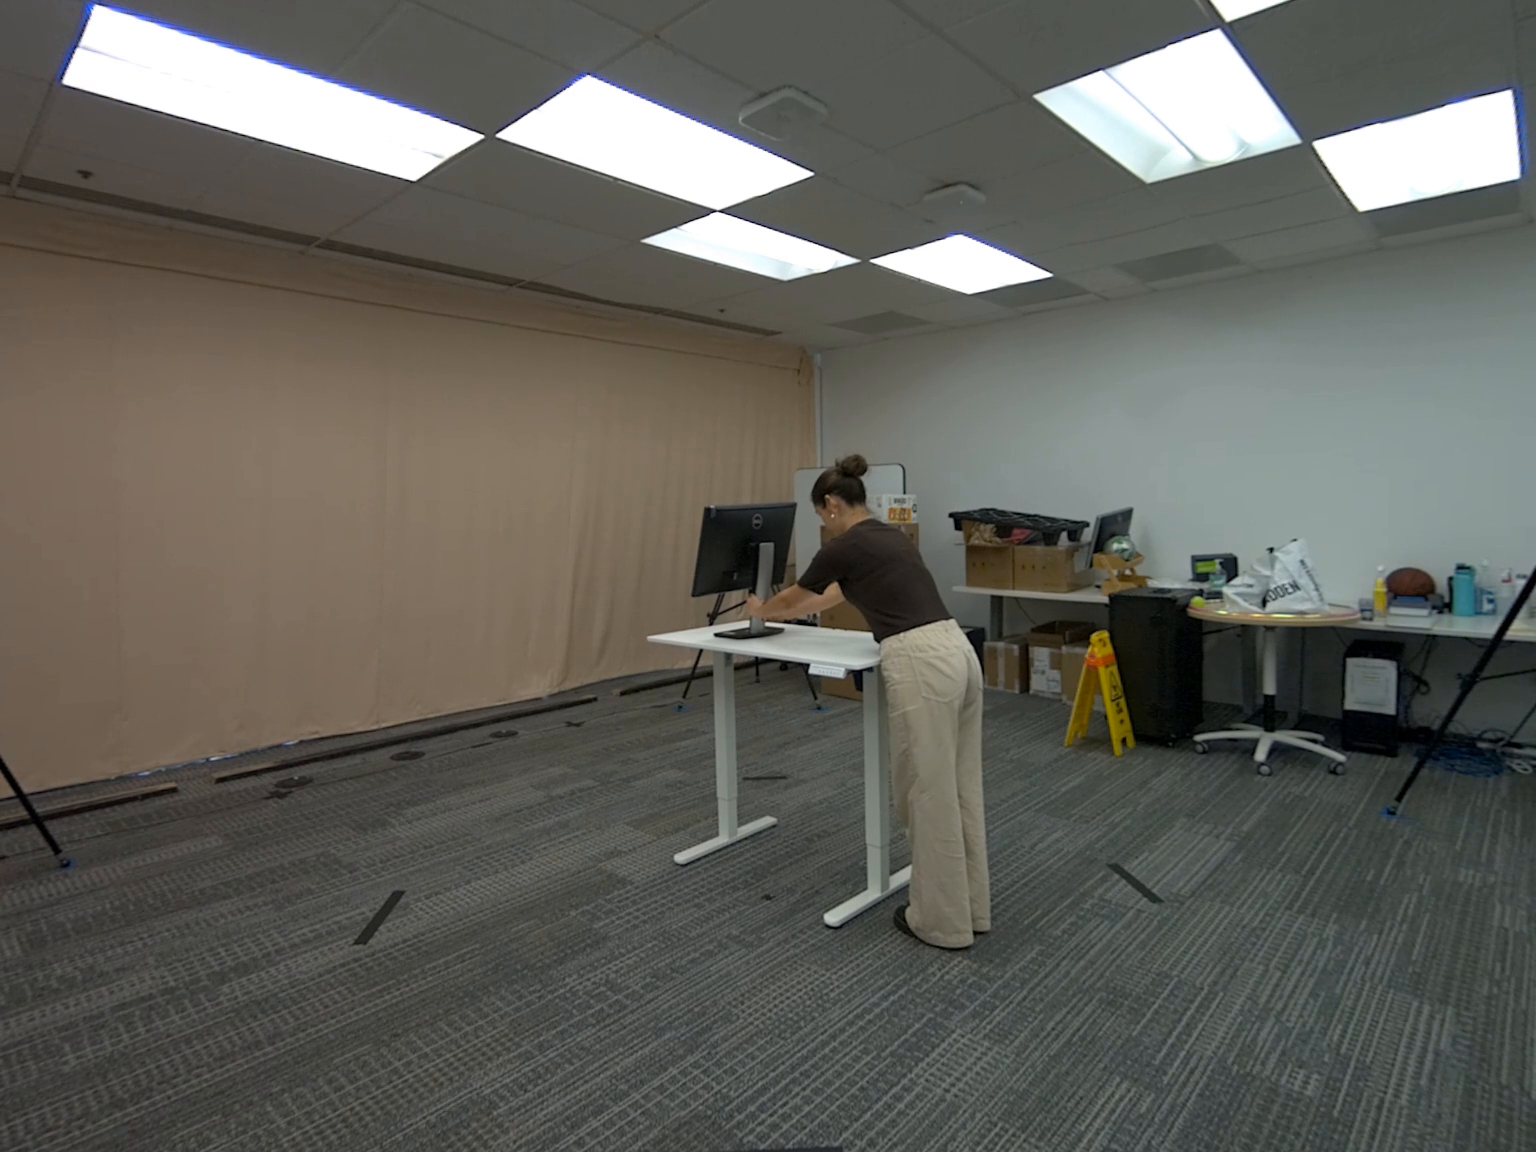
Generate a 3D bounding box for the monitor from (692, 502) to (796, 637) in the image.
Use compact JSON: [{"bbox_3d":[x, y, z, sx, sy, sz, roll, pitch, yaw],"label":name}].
[{"bbox_3d":[-0.065,-0.024,3.310,0.180,0.515,0.514,-2,4,41],"label":"monitor"}]
